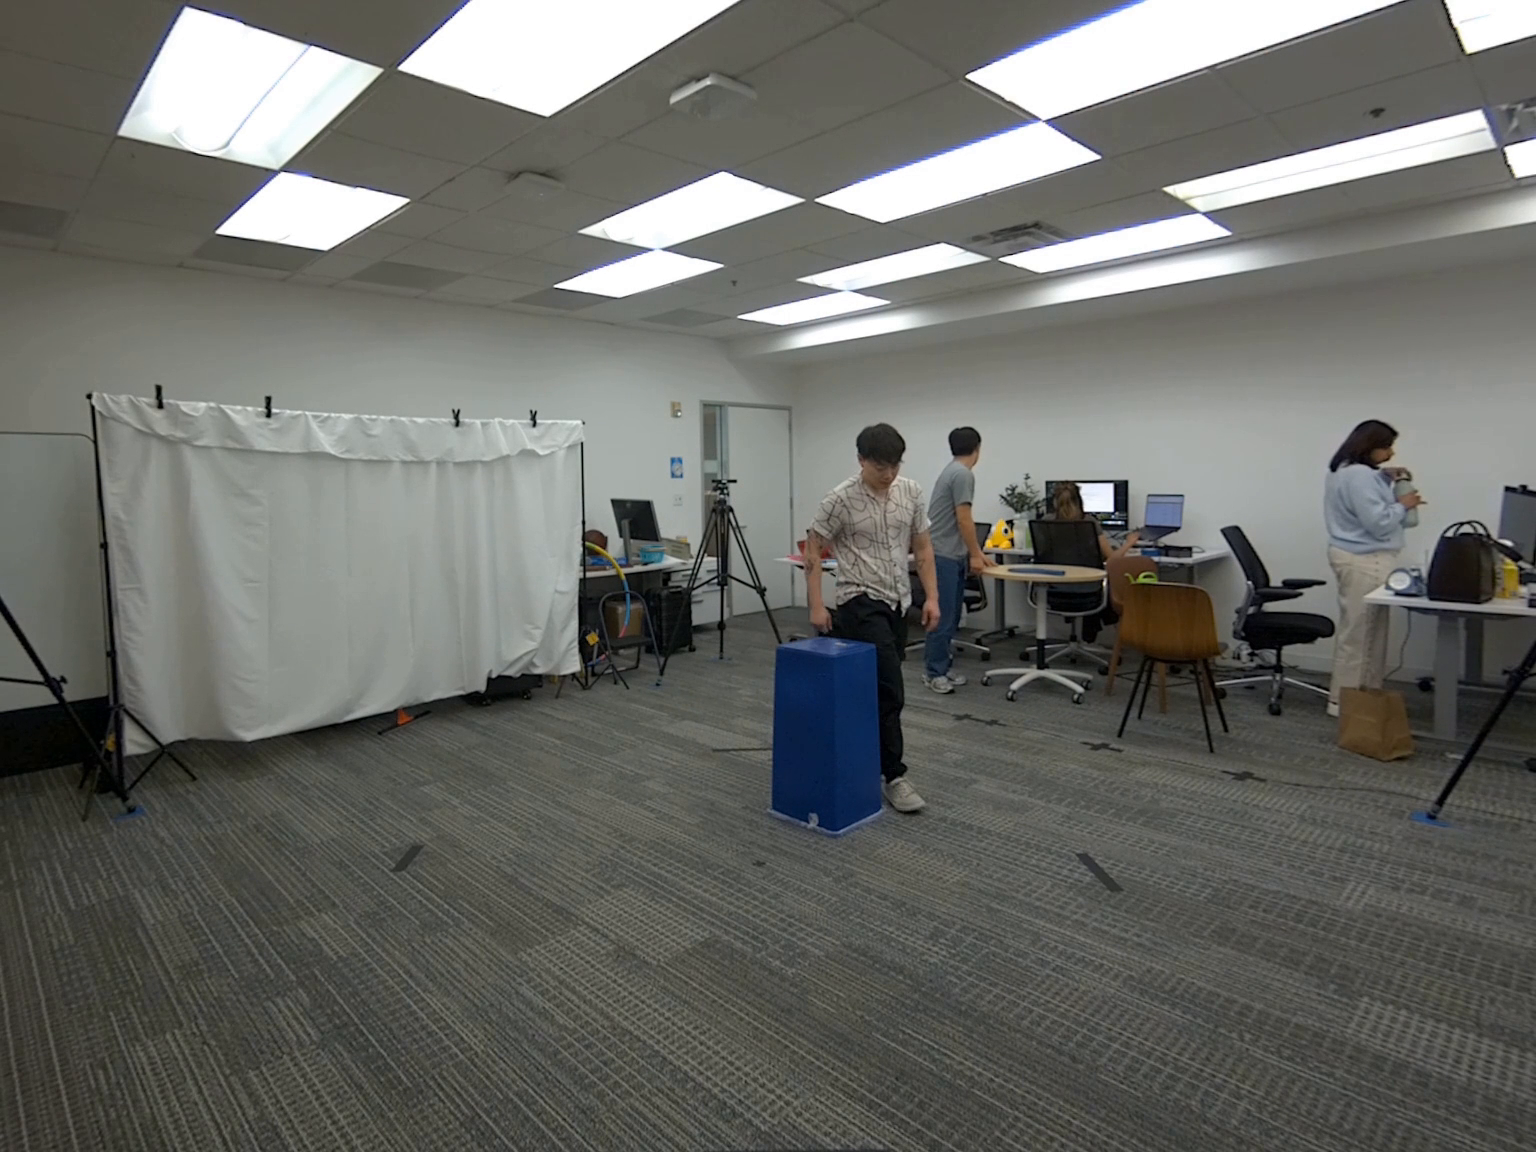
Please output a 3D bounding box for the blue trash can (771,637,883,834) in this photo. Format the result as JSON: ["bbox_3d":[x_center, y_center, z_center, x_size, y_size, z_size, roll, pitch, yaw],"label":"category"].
[{"bbox_3d":[0.249,0.640,3.549,0.390,0.711,0.364,4,5,43],"label":"blue trash can"}]
